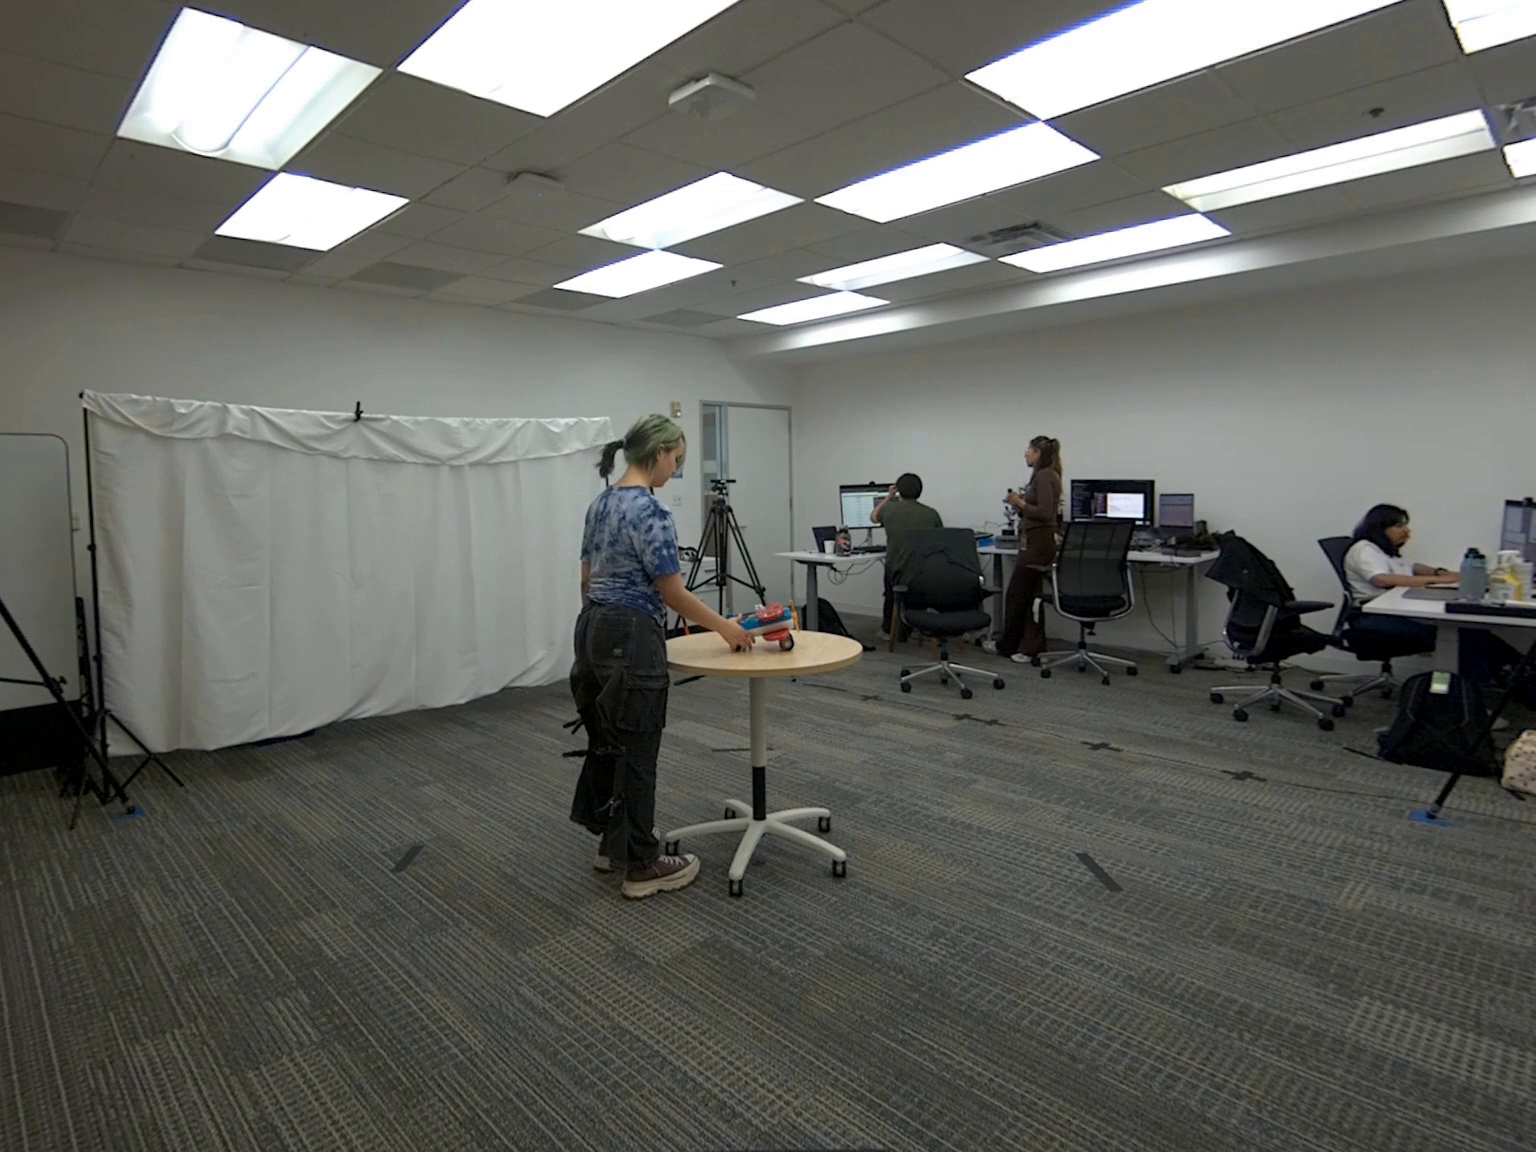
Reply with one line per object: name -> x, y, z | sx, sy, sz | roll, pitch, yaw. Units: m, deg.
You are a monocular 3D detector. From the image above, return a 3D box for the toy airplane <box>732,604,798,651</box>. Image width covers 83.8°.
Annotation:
toy airplane -> -0.014, 0.188, 3.066 | 0.253, 0.156, 0.258 | -2, 5, -31
